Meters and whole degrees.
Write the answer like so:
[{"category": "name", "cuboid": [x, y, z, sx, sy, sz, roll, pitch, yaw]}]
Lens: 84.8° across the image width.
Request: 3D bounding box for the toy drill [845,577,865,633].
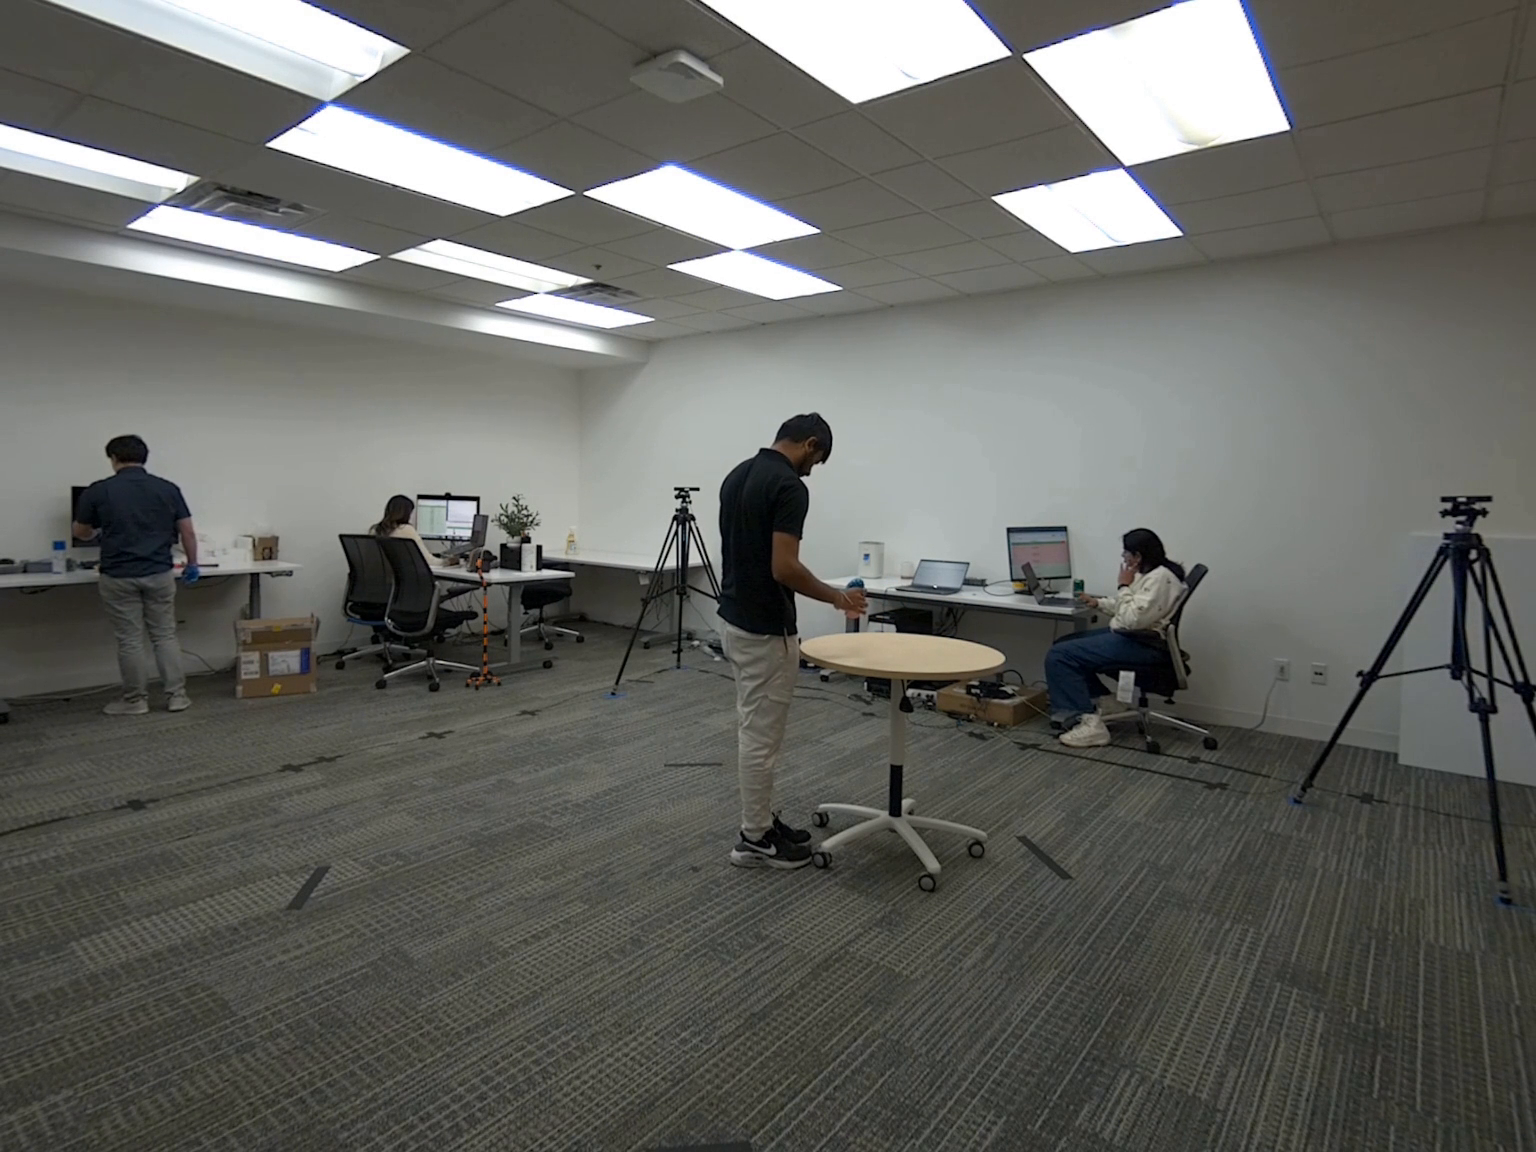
[{"category": "toy drill", "cuboid": [0.301, 0.085, 3.162, 0.061, 0.148, 0.167, 13, -20, -3]}]
